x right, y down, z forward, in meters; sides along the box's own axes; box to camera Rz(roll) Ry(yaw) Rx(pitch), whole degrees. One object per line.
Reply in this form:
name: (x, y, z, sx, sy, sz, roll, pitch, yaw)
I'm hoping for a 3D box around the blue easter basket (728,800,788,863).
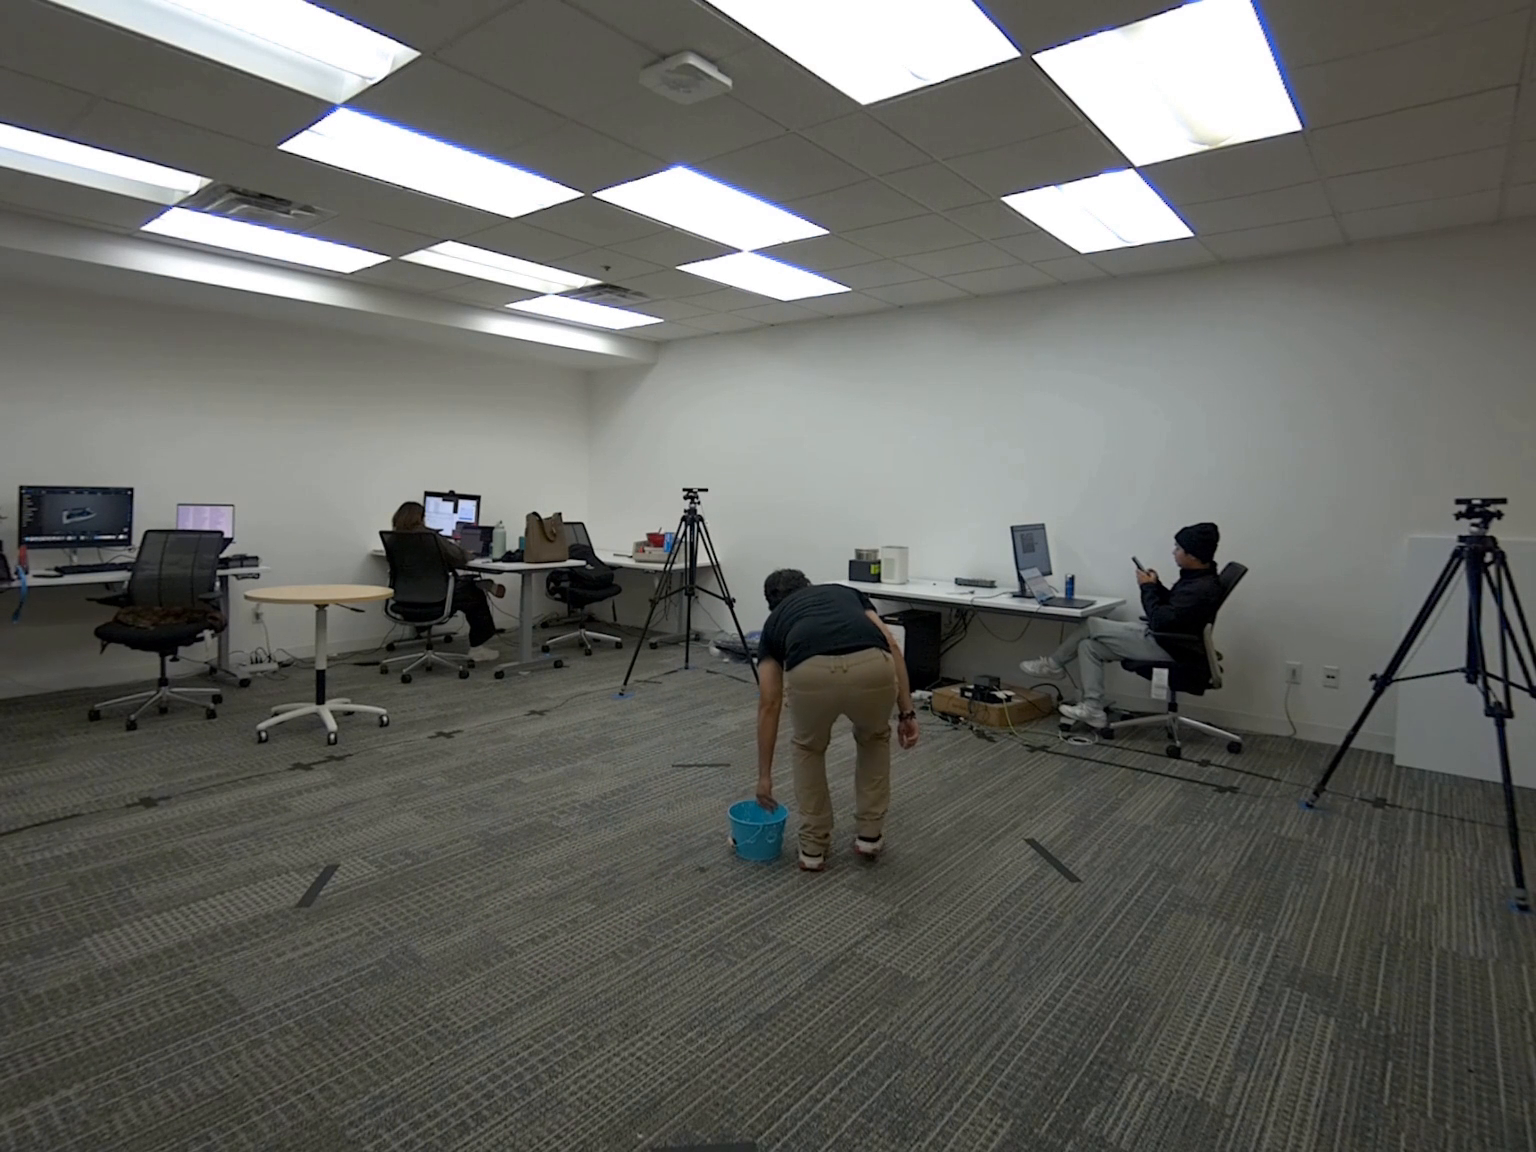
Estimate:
blue easter basket: (-0.049, 0.979, 3.285, 0.243, 0.155, 0.245, 1, 7, -2)
